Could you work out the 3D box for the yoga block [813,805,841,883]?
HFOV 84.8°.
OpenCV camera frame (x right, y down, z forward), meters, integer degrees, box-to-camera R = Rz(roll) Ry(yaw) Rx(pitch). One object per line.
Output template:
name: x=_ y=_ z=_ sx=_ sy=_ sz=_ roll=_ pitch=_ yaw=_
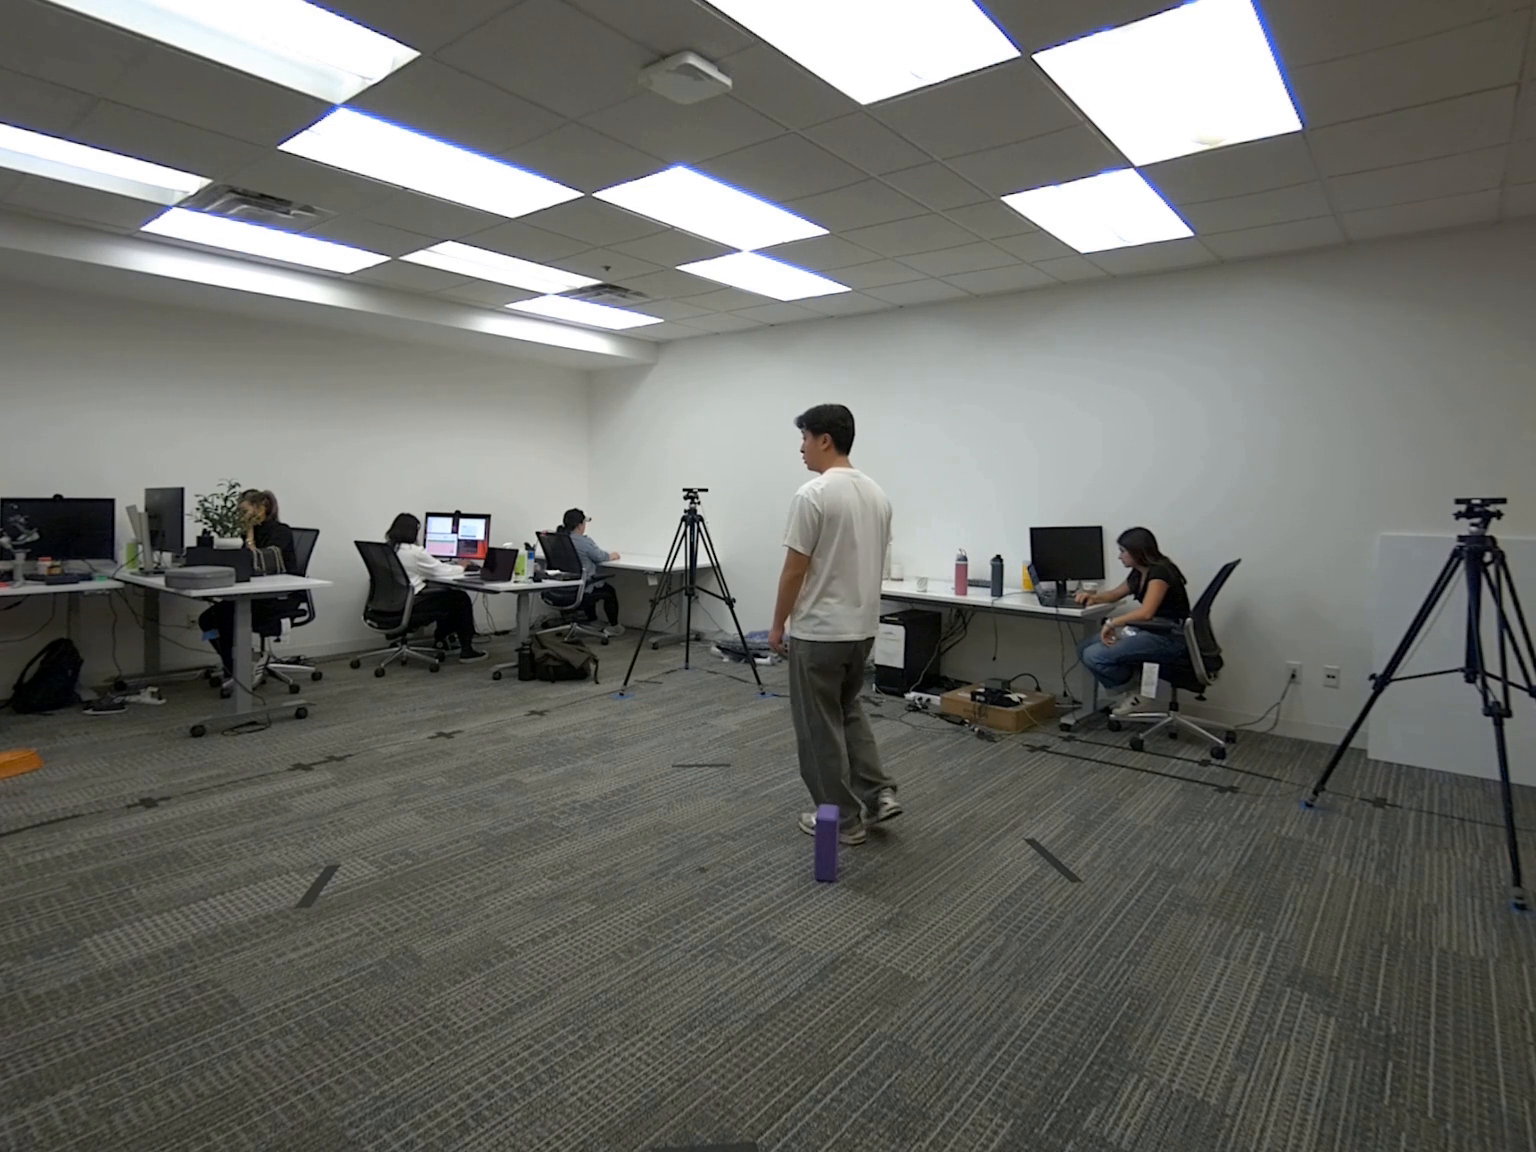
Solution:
yoga block: x=0.220 y=0.963 z=3.097 sx=0.077 sy=0.229 sz=0.147 roll=3 pitch=3 yaw=9
